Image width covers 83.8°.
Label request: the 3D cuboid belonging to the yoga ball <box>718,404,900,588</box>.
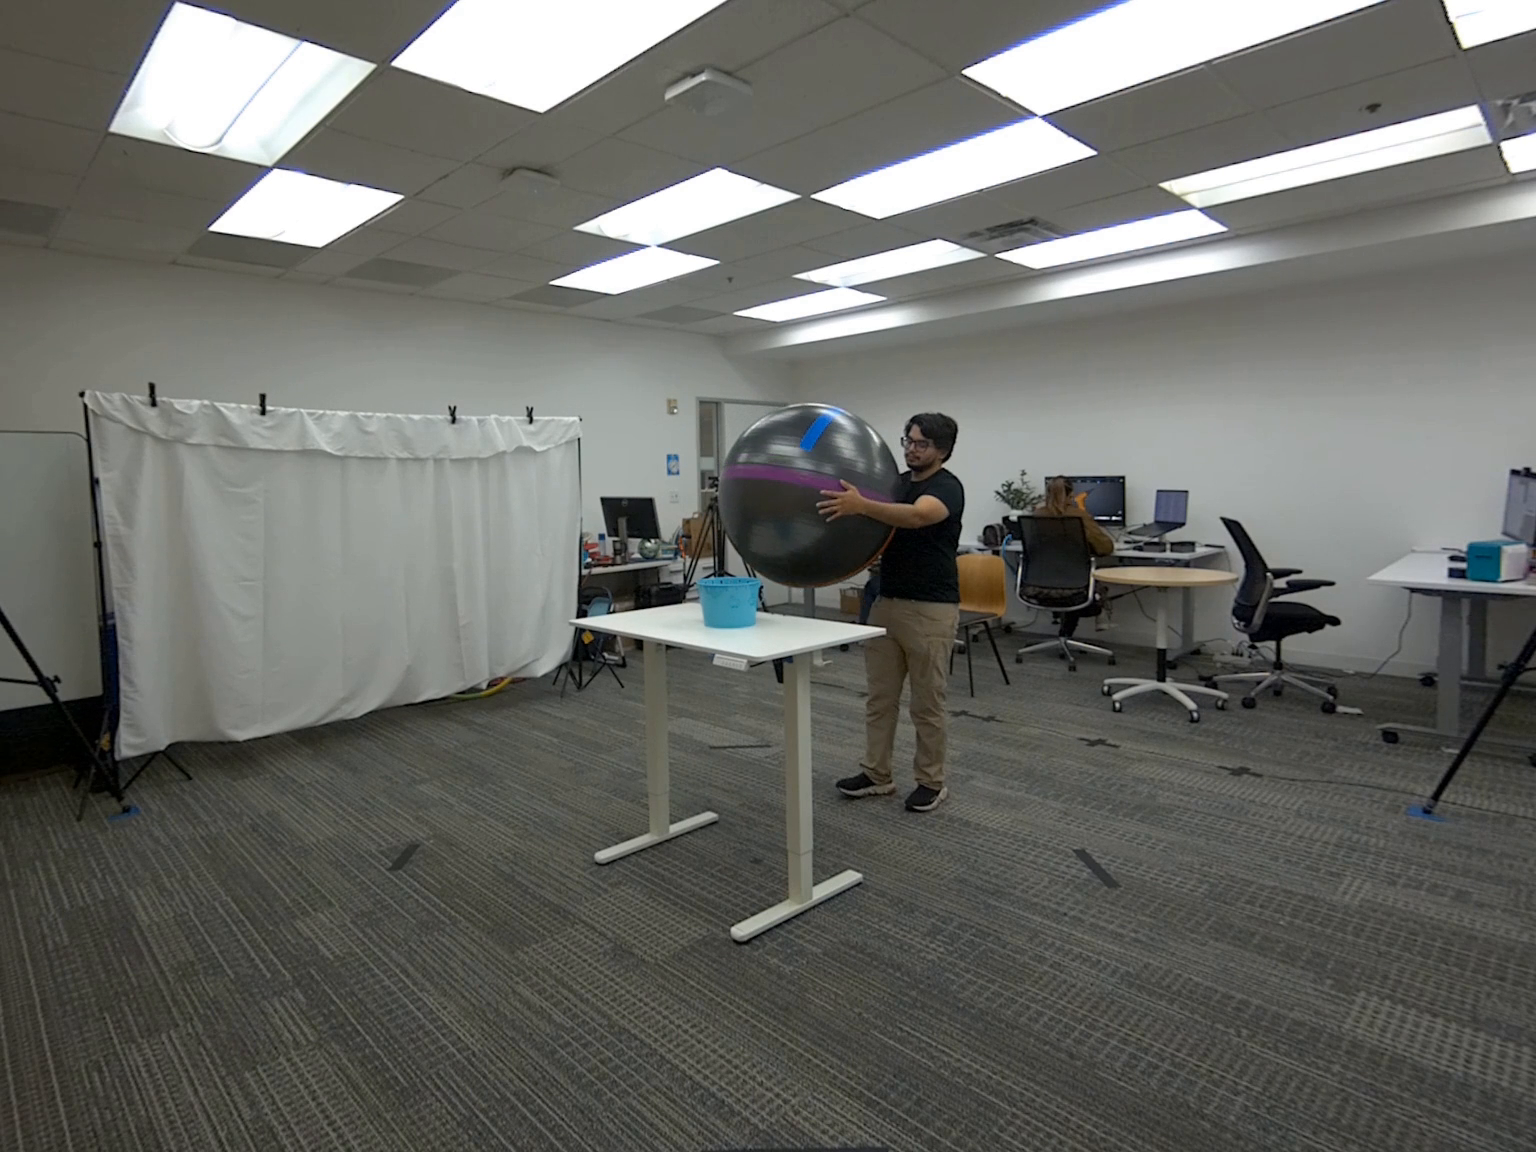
[{"bbox_3d":[0.164,-0.328,3.560,0.757,0.755,0.762,-1,5,-2],"label":"yoga ball"}]
